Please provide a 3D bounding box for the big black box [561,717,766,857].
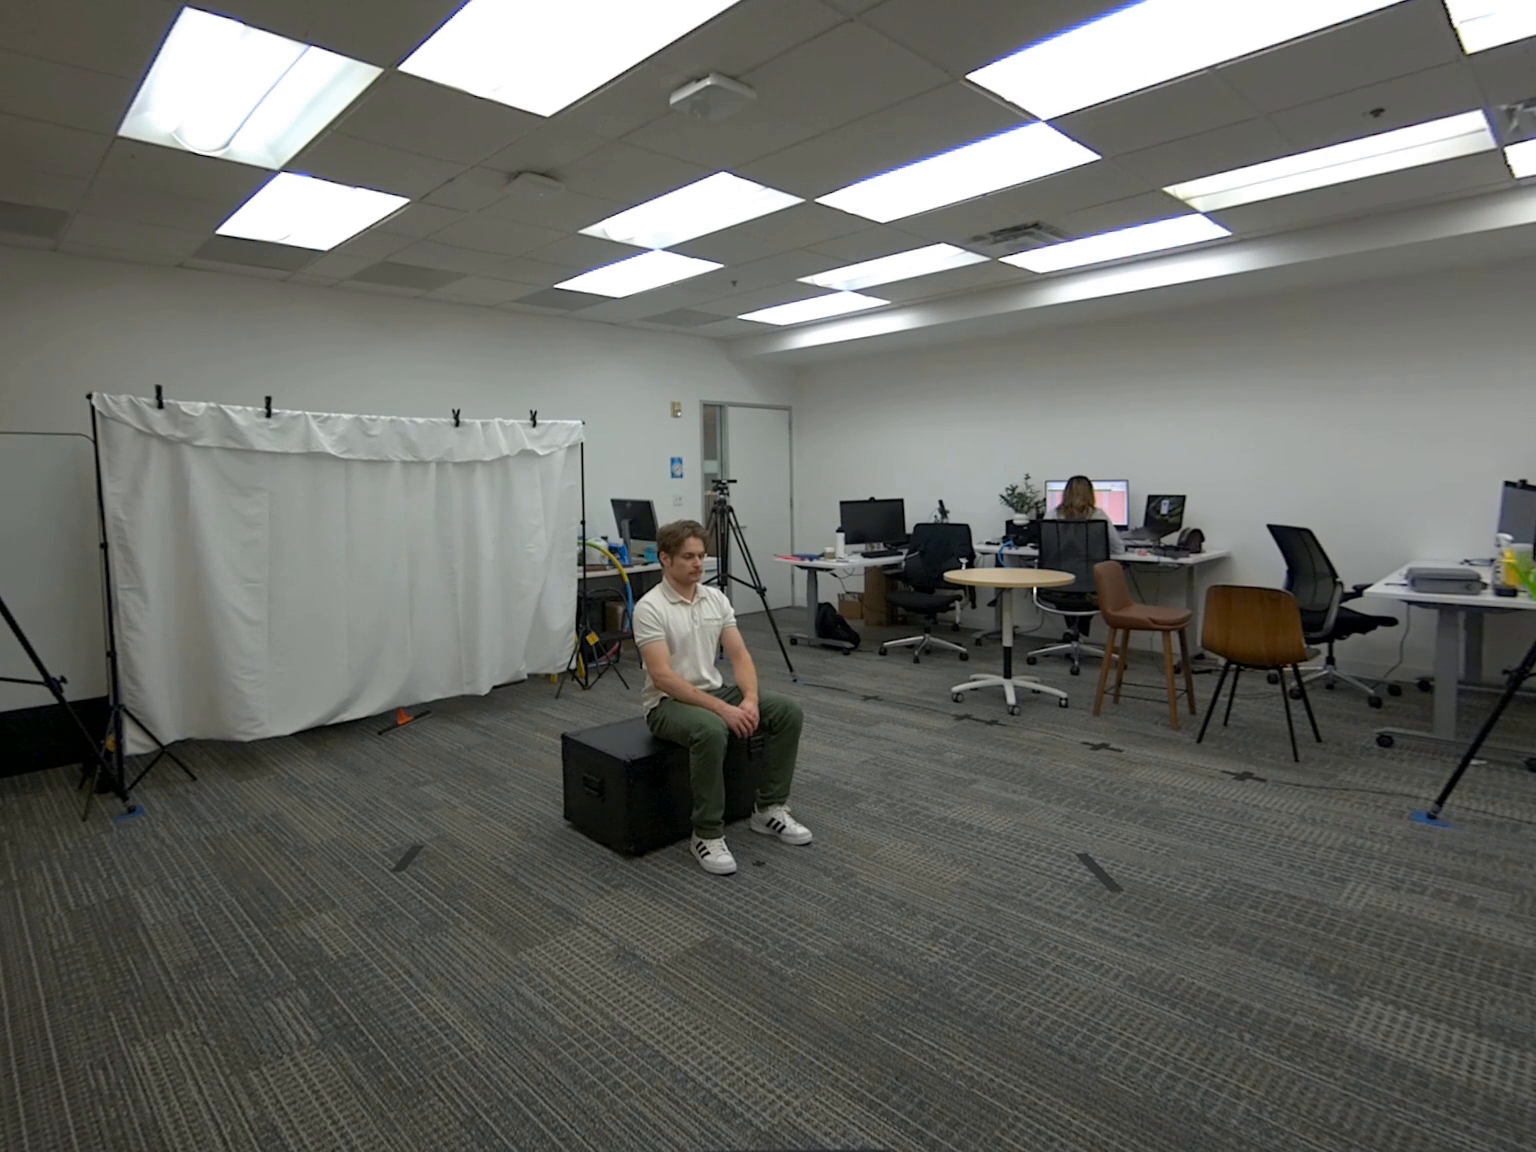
[{"bbox_3d":[-0.363,0.809,3.577,0.846,0.384,0.539,-6,6,-41],"label":"big black box"}]
